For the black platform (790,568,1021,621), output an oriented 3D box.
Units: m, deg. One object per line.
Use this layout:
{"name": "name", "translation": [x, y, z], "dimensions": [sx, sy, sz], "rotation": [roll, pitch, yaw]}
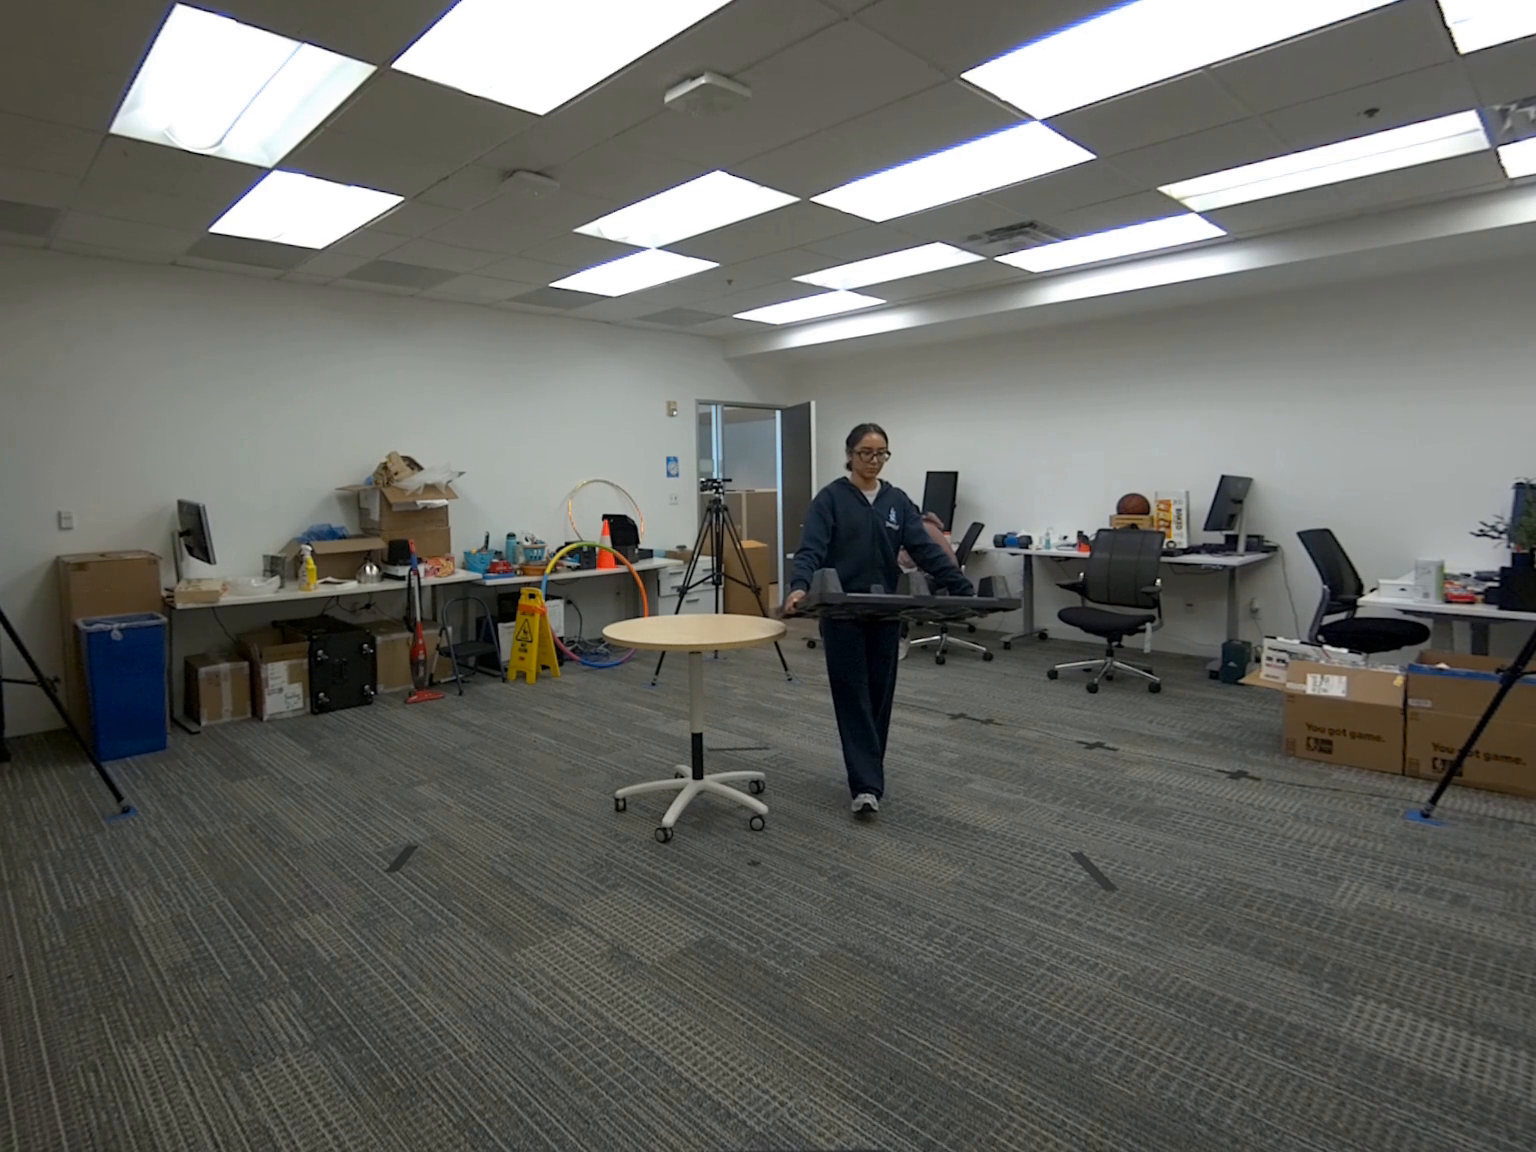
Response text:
{"name": "black platform", "translation": [0.485, 0.084, 3.373], "dimensions": [0.795, 0.145, 0.607], "rotation": [2, -11, -14]}
